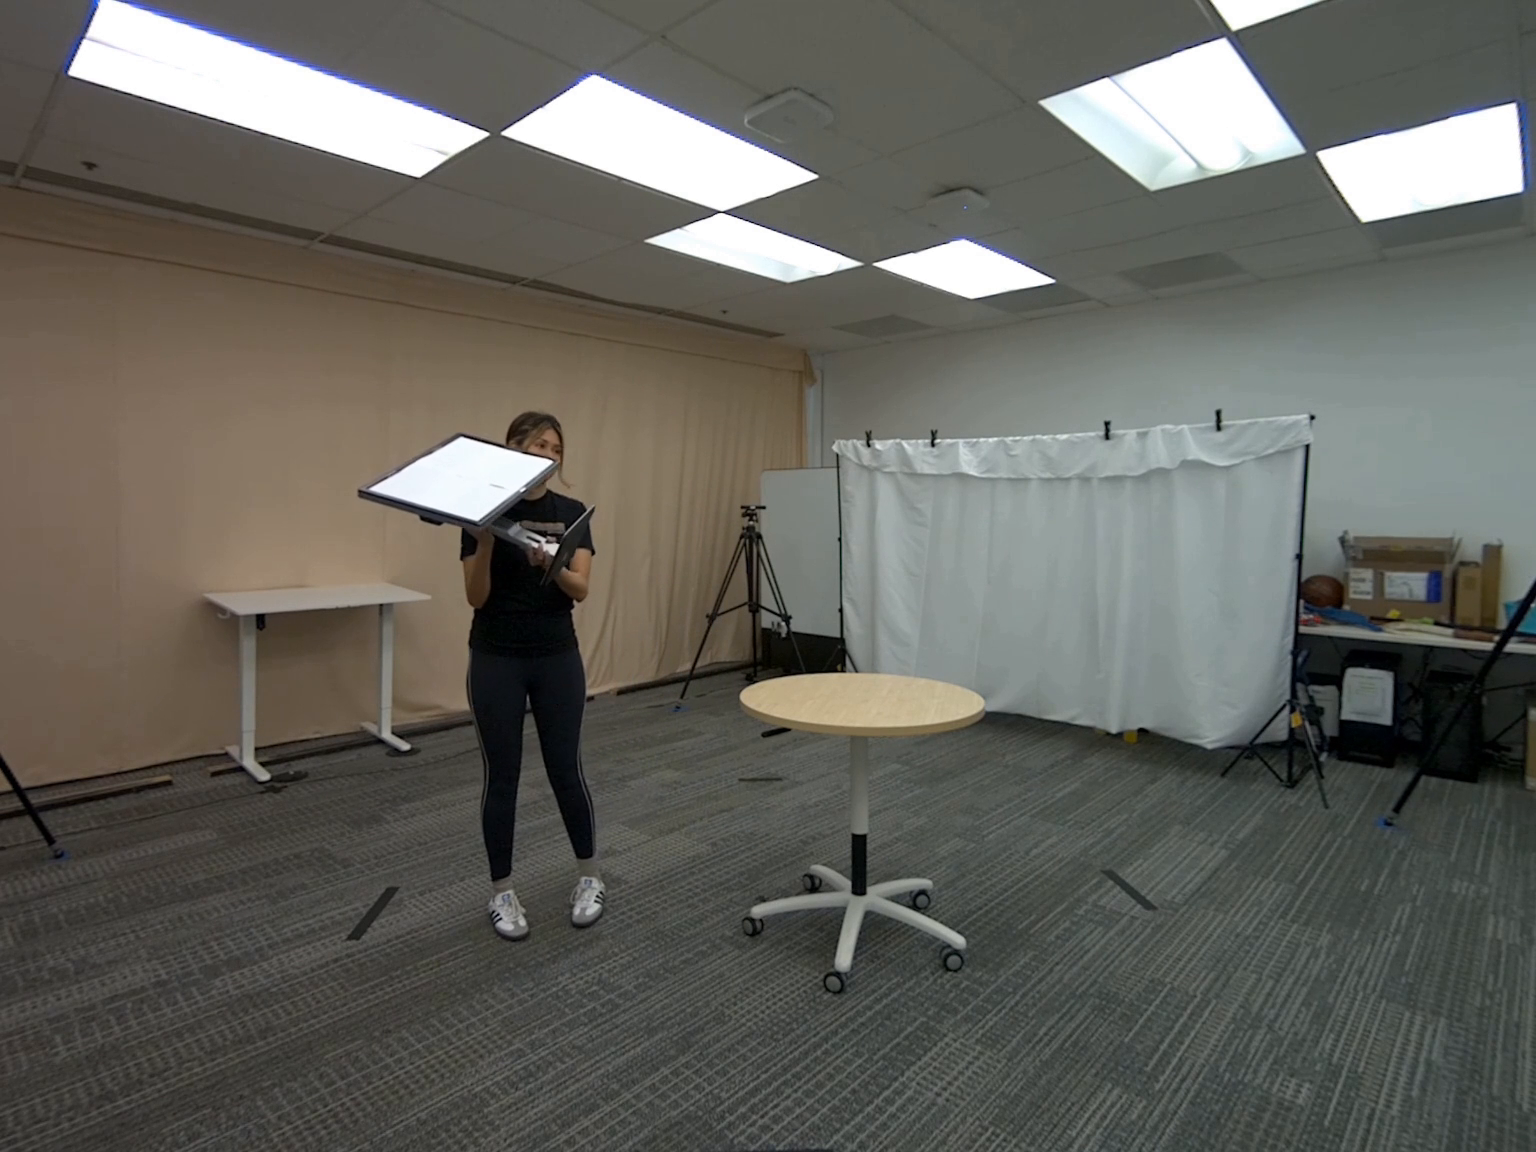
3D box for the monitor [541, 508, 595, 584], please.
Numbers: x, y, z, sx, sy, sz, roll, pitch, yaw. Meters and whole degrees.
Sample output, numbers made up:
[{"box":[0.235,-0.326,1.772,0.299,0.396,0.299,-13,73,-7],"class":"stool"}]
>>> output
[{"box":[-0.823,-0.211,2.513,0.523,0.187,0.539,30,25,-1],"class":"monitor"}]
